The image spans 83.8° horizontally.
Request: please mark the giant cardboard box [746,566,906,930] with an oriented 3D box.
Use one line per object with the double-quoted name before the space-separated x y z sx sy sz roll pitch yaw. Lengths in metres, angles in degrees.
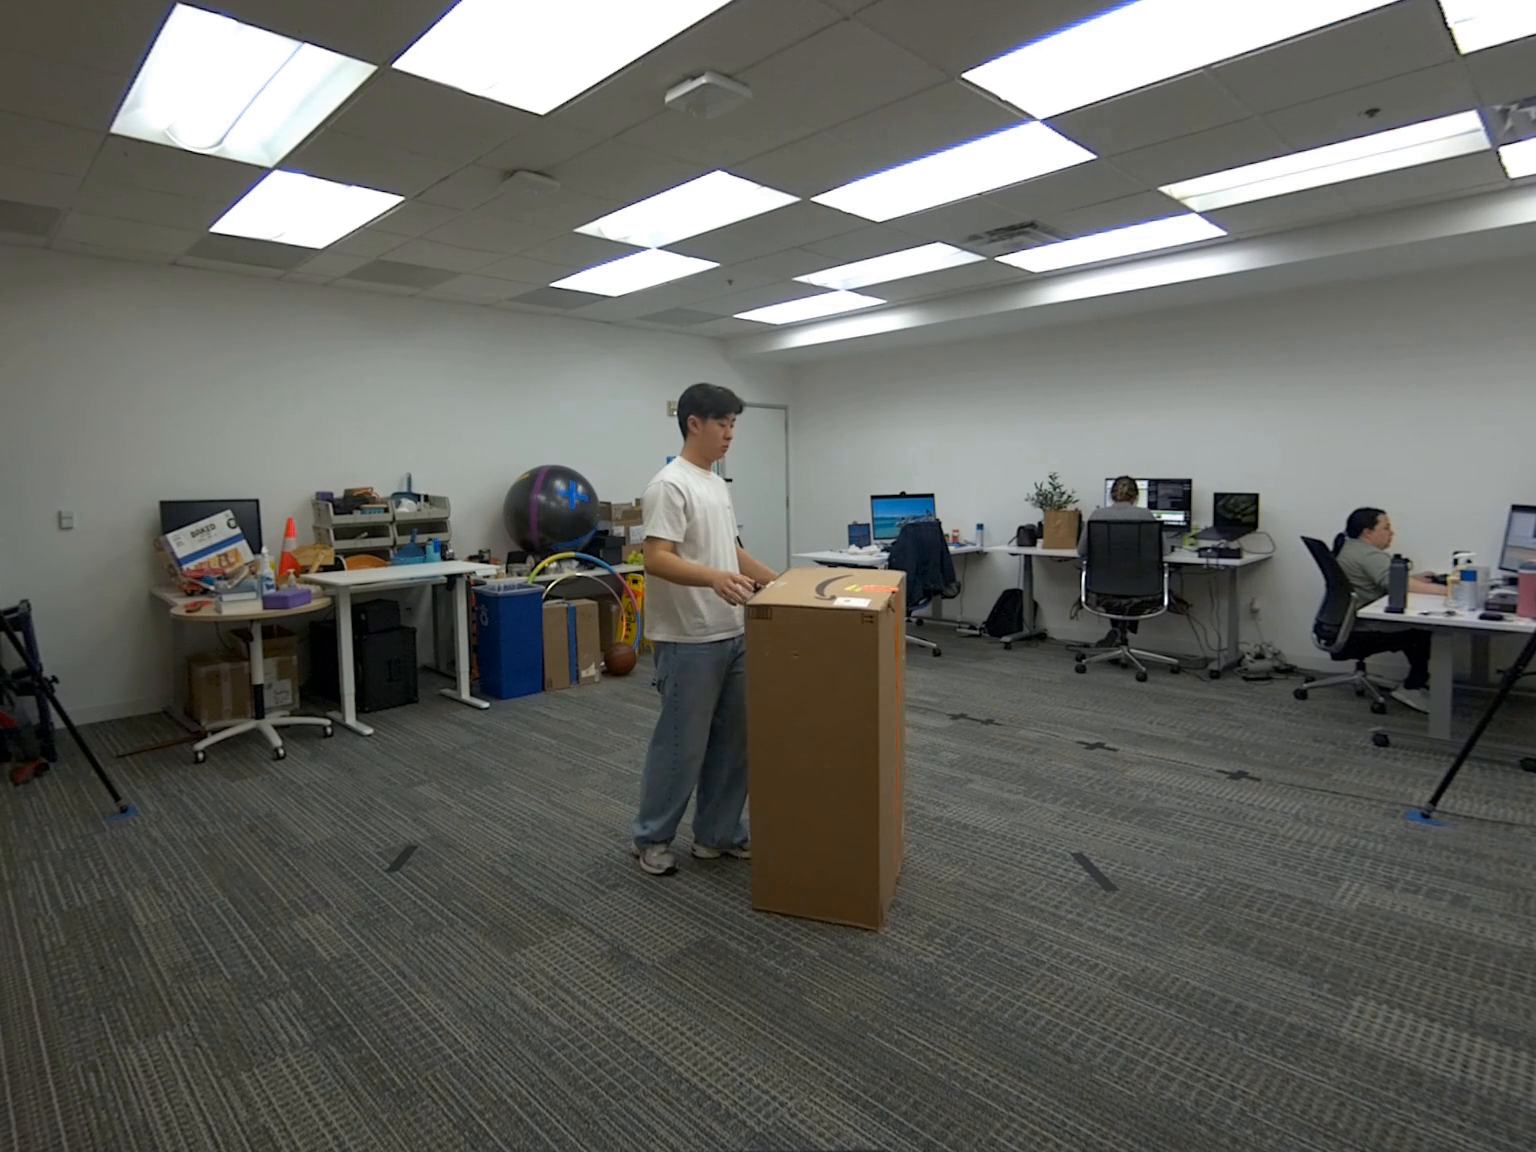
"giant cardboard box" 0.220 0.538 2.885 0.434 1.017 0.572 2 10 18
